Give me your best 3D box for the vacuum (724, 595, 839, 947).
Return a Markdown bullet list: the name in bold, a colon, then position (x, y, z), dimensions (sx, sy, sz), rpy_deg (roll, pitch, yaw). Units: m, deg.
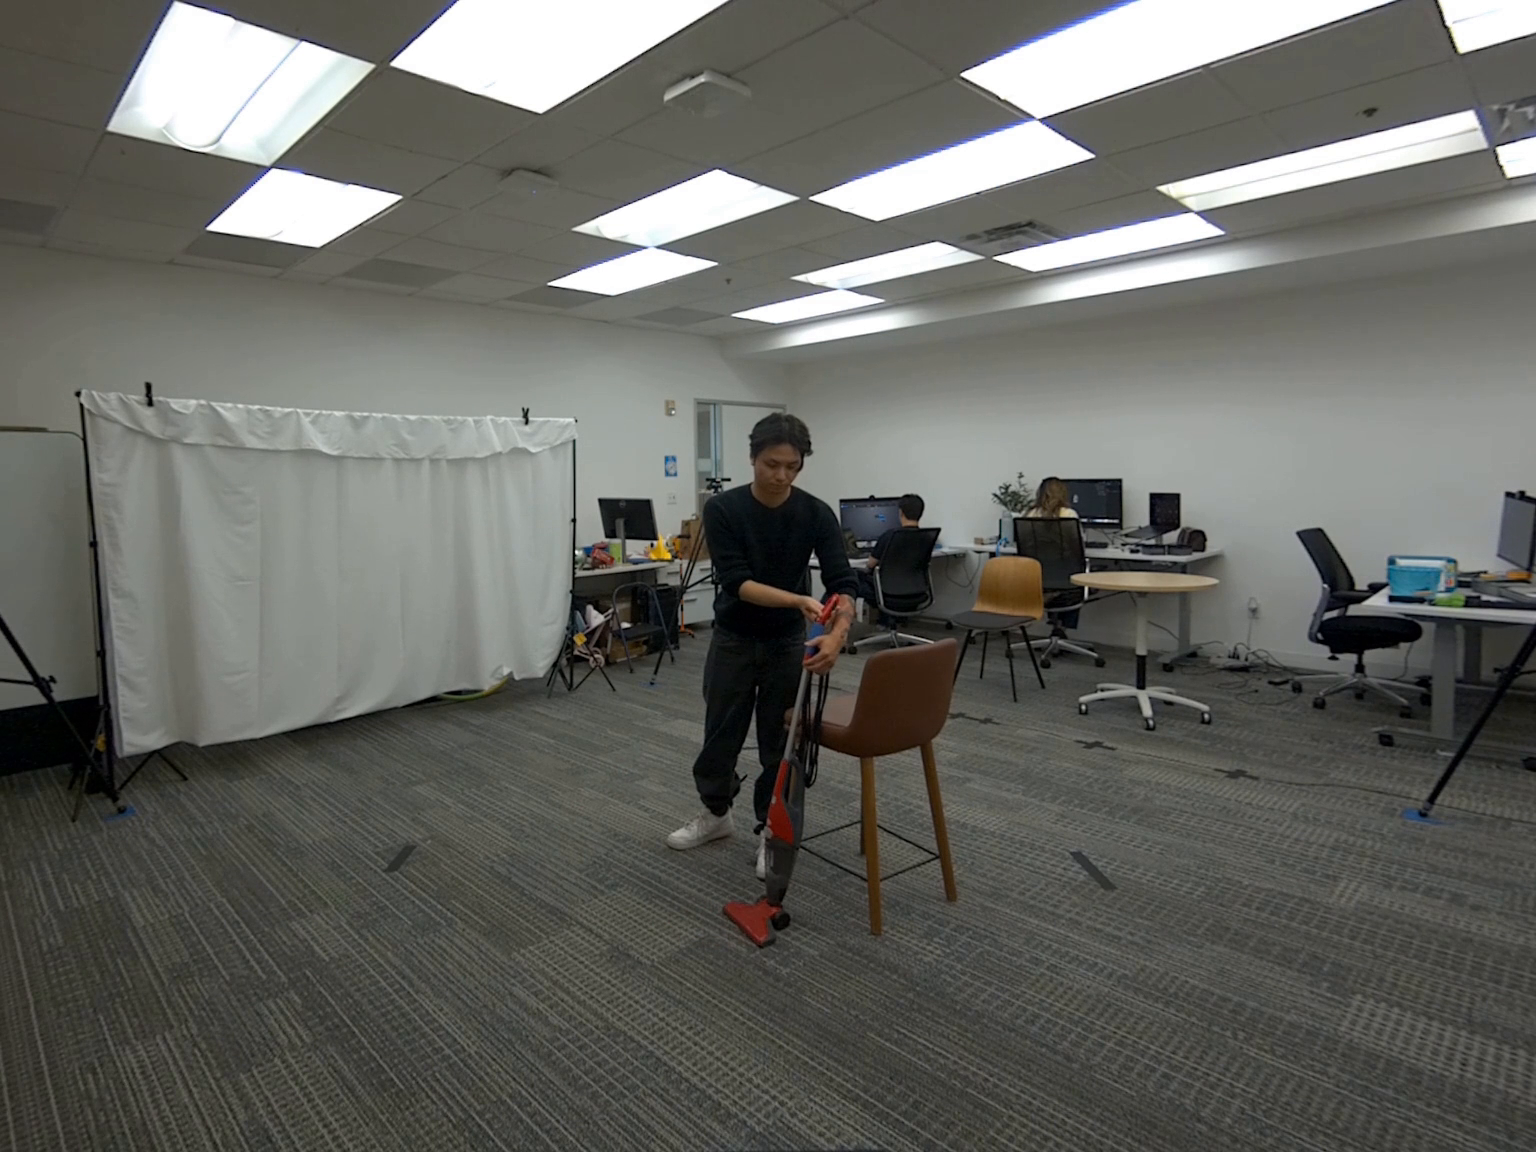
- **vacuum**: position (0.100, 0.590, 2.711), dimensions (0.140, 1.052, 0.259), rpy_deg (14, -4, -31)
